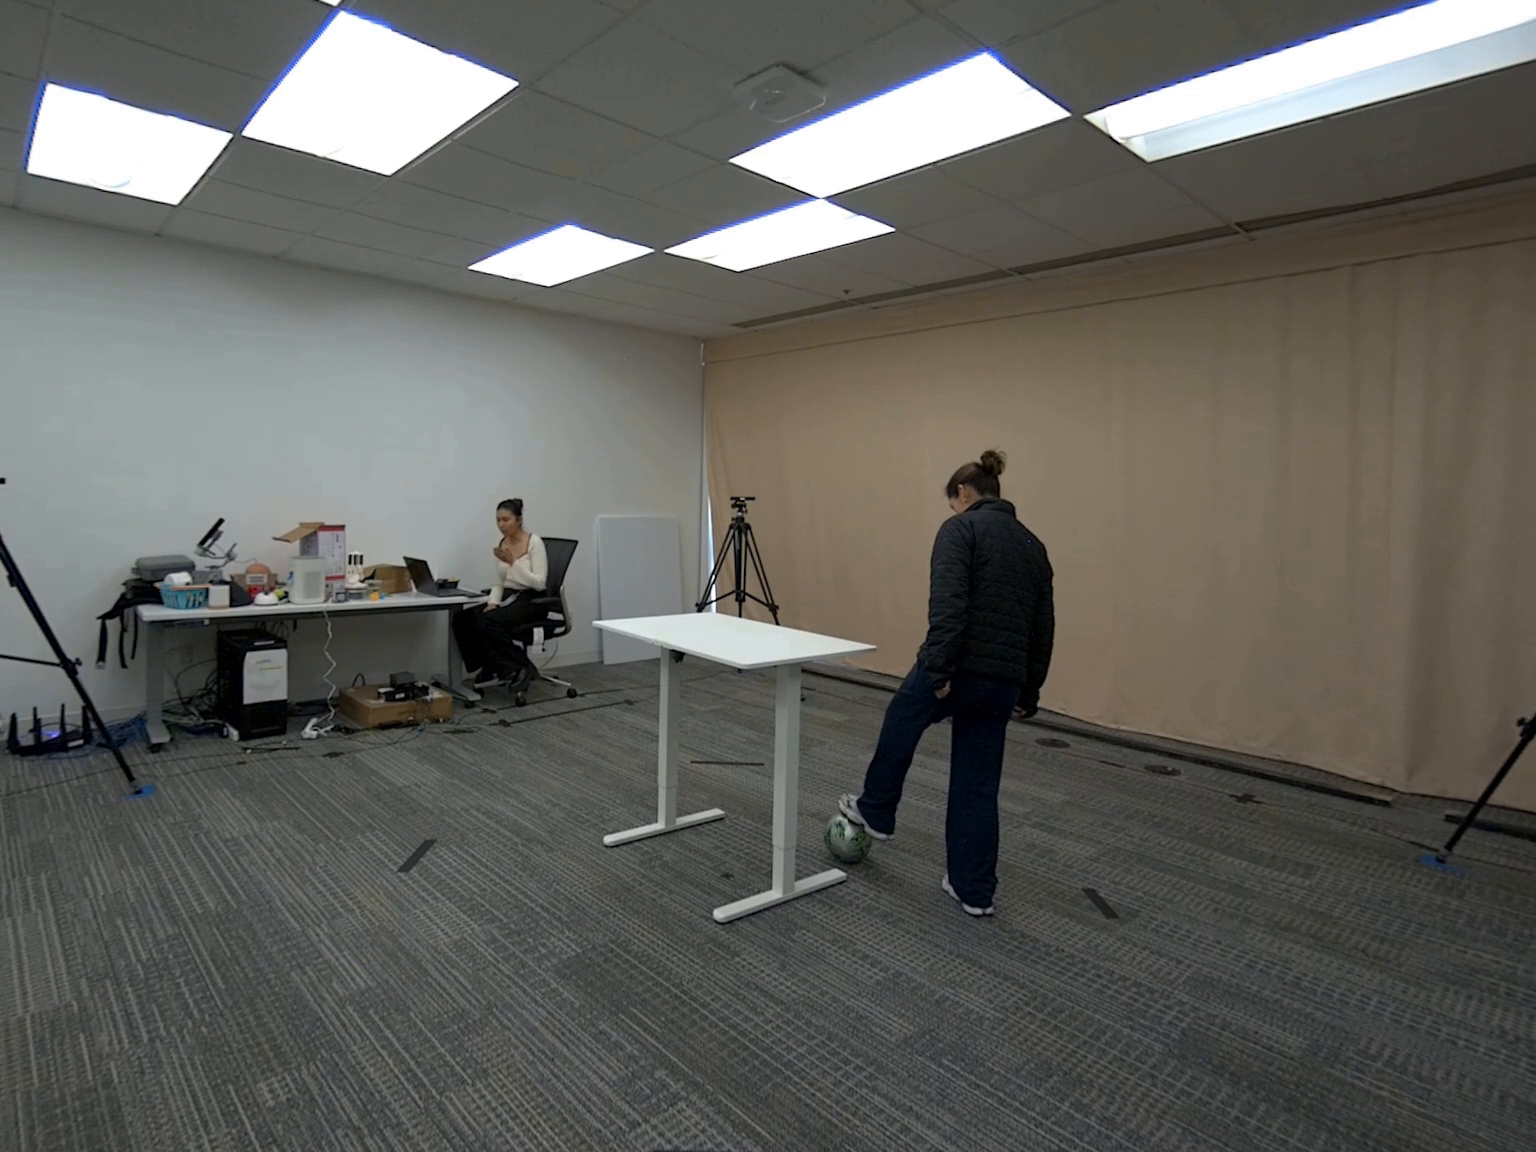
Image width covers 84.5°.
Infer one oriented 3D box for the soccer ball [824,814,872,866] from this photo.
[{"bbox_3d":[0.304,1.013,3.261,0.187,0.187,0.188,1,4,-1],"label":"soccer ball"}]
